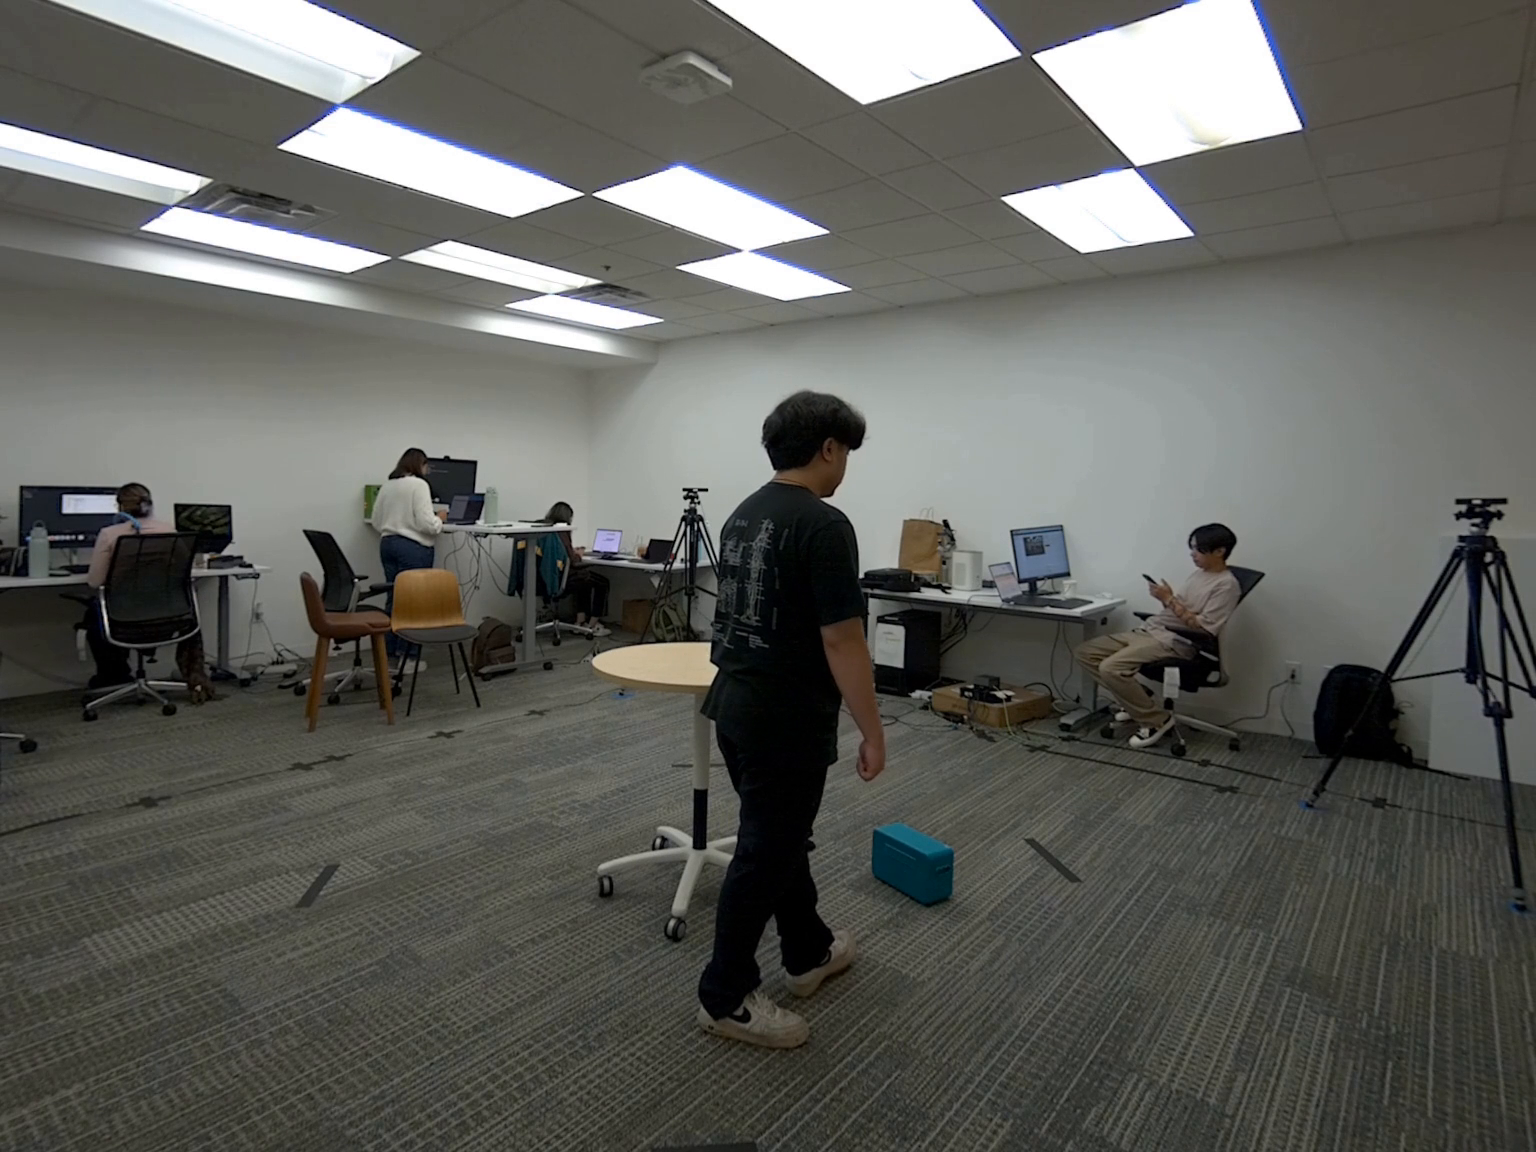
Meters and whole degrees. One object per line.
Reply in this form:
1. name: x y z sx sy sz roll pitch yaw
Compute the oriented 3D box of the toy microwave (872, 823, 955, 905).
1. toy microwave: 0.504 1.003 3.000 0.148 0.183 0.296 -2 6 -35
